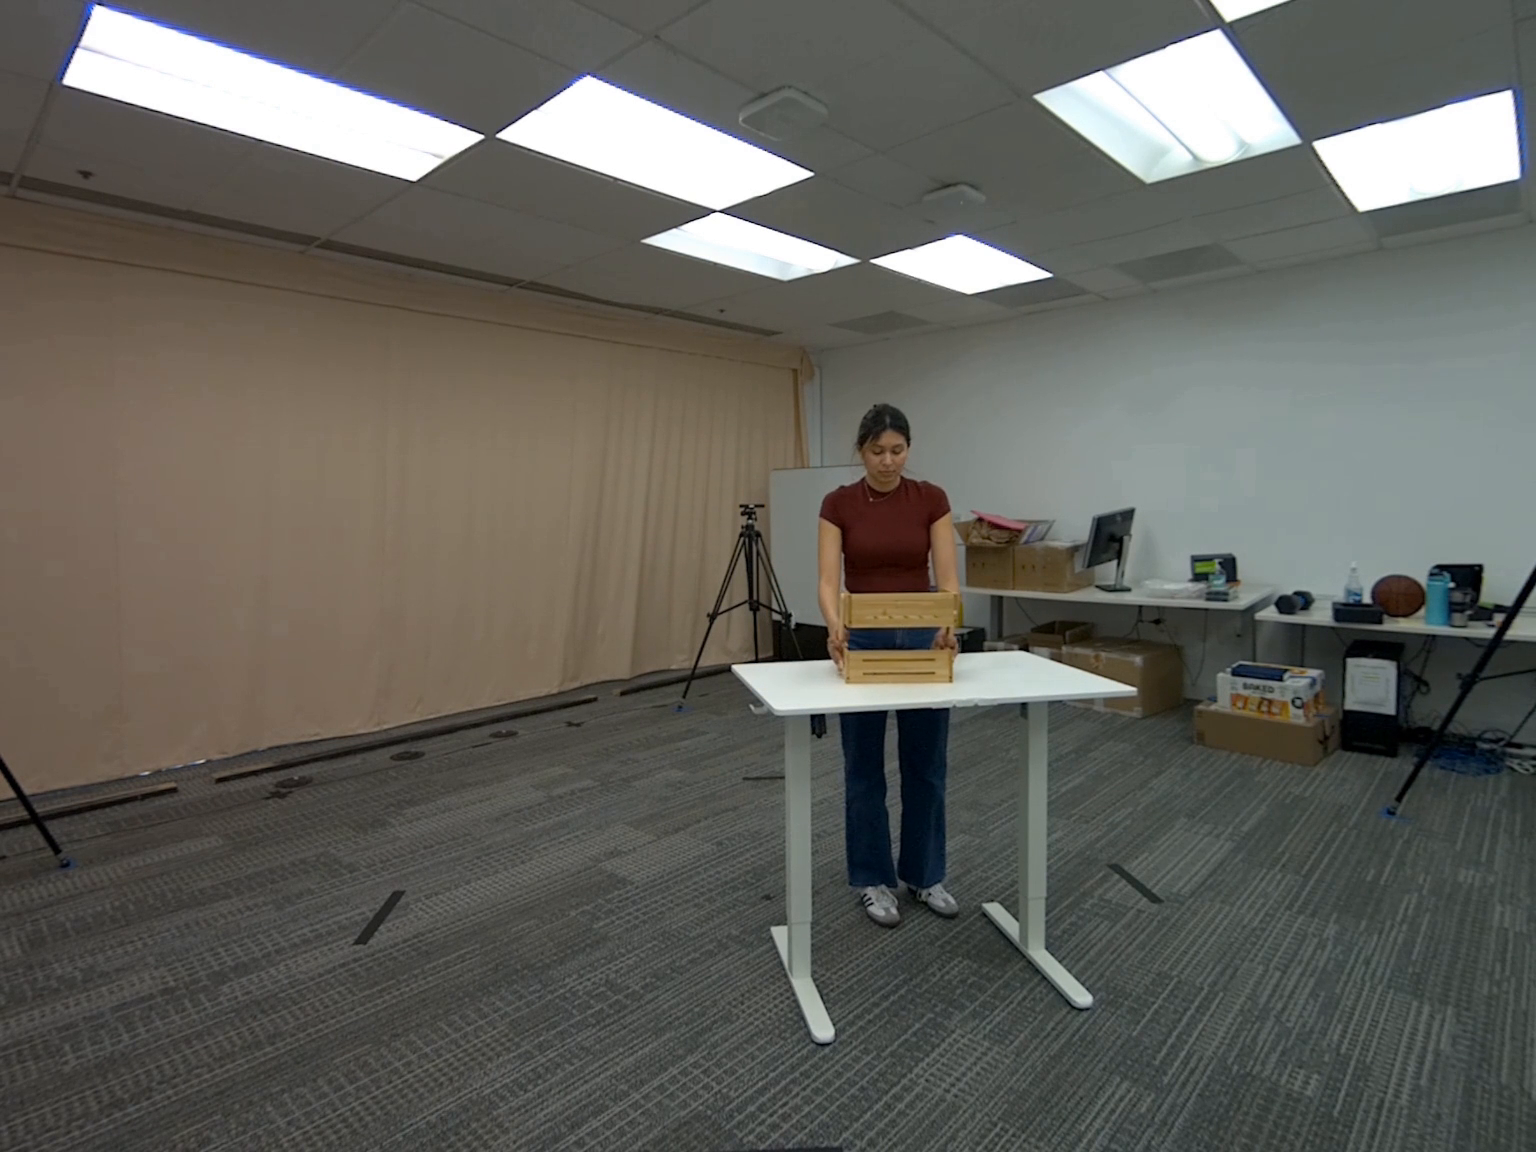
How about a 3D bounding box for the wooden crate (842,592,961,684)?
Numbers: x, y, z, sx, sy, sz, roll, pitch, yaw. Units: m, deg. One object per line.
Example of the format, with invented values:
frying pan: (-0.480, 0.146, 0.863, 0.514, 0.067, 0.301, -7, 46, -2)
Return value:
wooden crate: (0.371, 0.165, 2.471, 0.324, 0.272, 0.303, -1, 4, -1)
